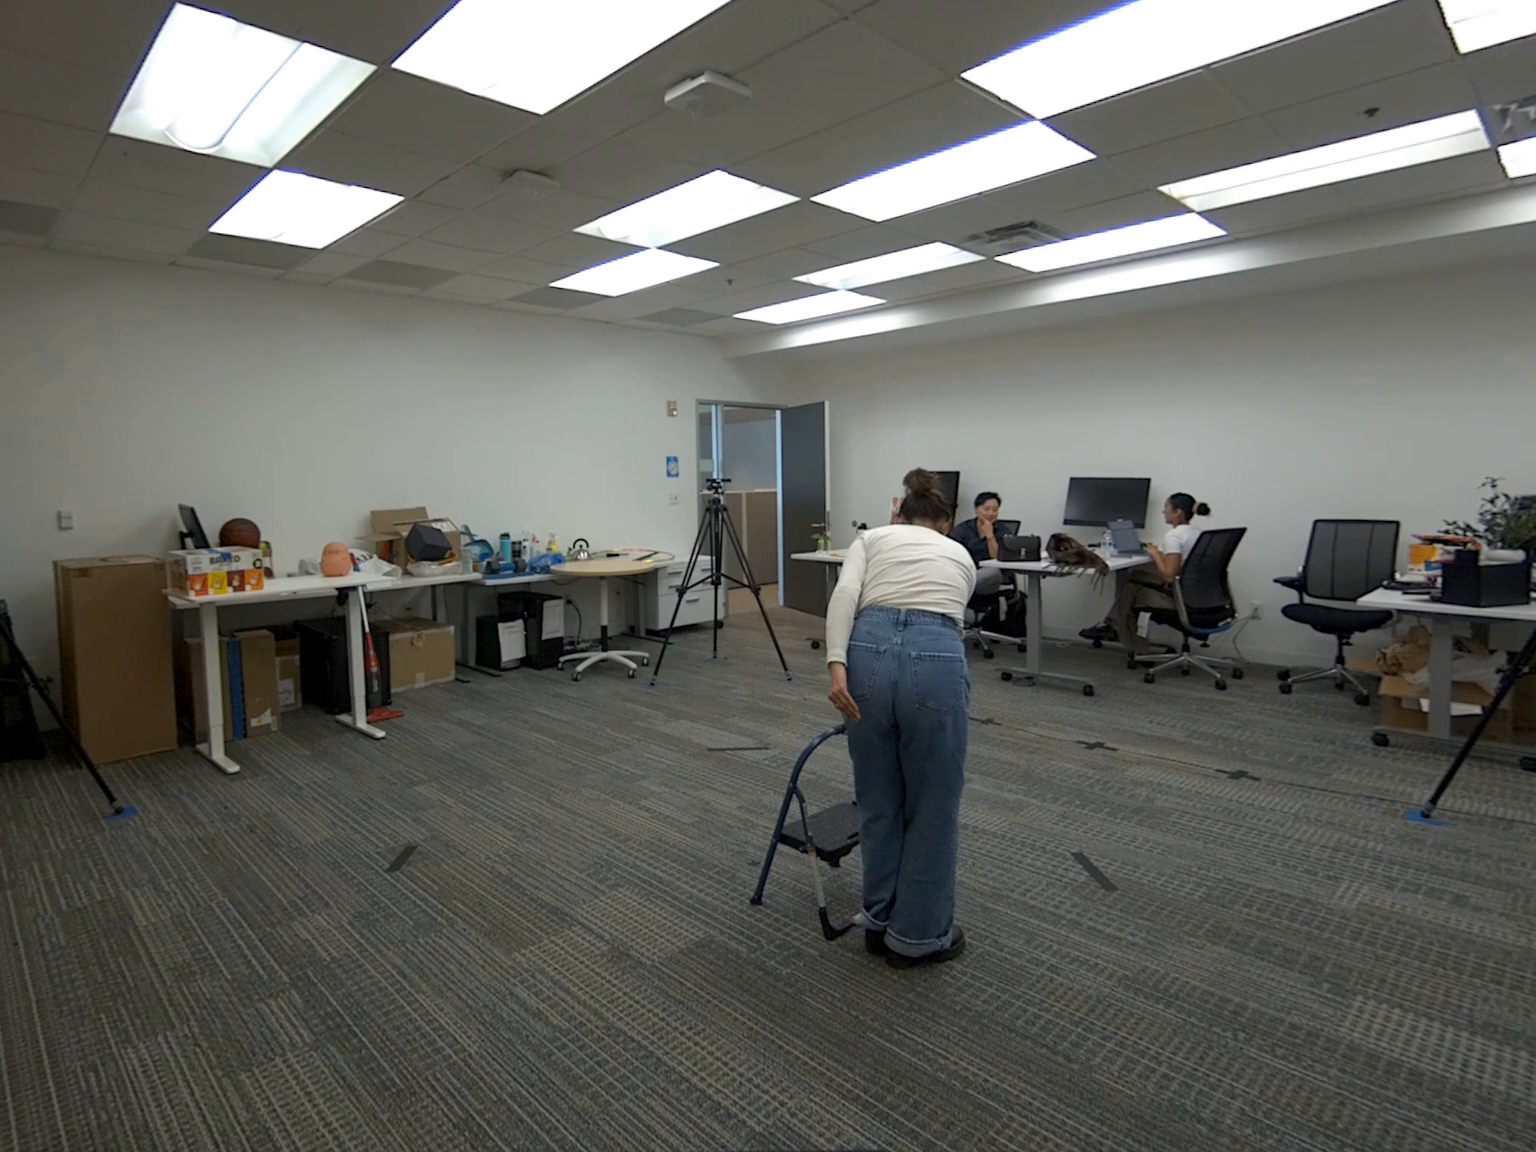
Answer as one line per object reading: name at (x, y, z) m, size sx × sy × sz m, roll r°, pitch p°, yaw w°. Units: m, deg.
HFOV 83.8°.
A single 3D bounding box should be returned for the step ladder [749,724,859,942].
step ladder at (0.207, 0.772, 2.814) m, size 0.419 × 0.604 × 0.360 m, roll -5°, pitch 6°, yaw -44°
